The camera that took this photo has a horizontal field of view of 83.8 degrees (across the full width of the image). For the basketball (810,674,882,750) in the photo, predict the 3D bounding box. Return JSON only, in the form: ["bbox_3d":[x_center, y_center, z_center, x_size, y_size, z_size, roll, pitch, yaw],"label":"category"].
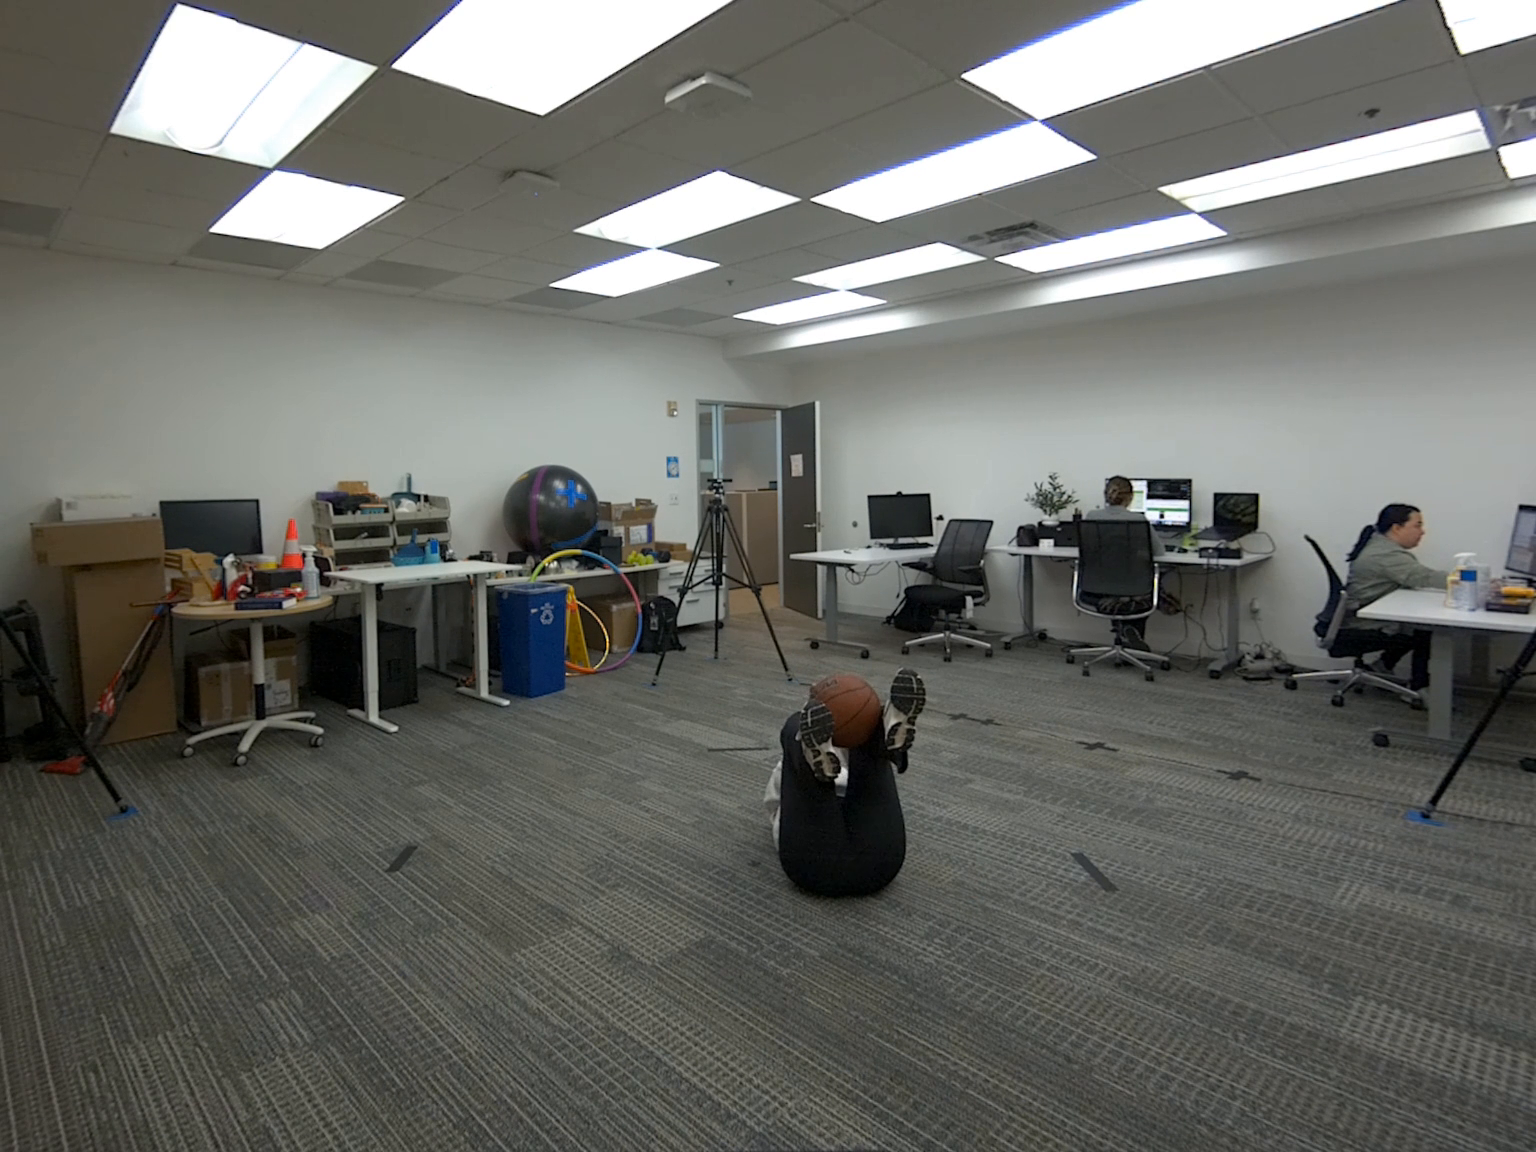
[{"bbox_3d":[0.249,0.441,2.783,0.236,0.235,0.237,-1,5,-2],"label":"basketball"}]
